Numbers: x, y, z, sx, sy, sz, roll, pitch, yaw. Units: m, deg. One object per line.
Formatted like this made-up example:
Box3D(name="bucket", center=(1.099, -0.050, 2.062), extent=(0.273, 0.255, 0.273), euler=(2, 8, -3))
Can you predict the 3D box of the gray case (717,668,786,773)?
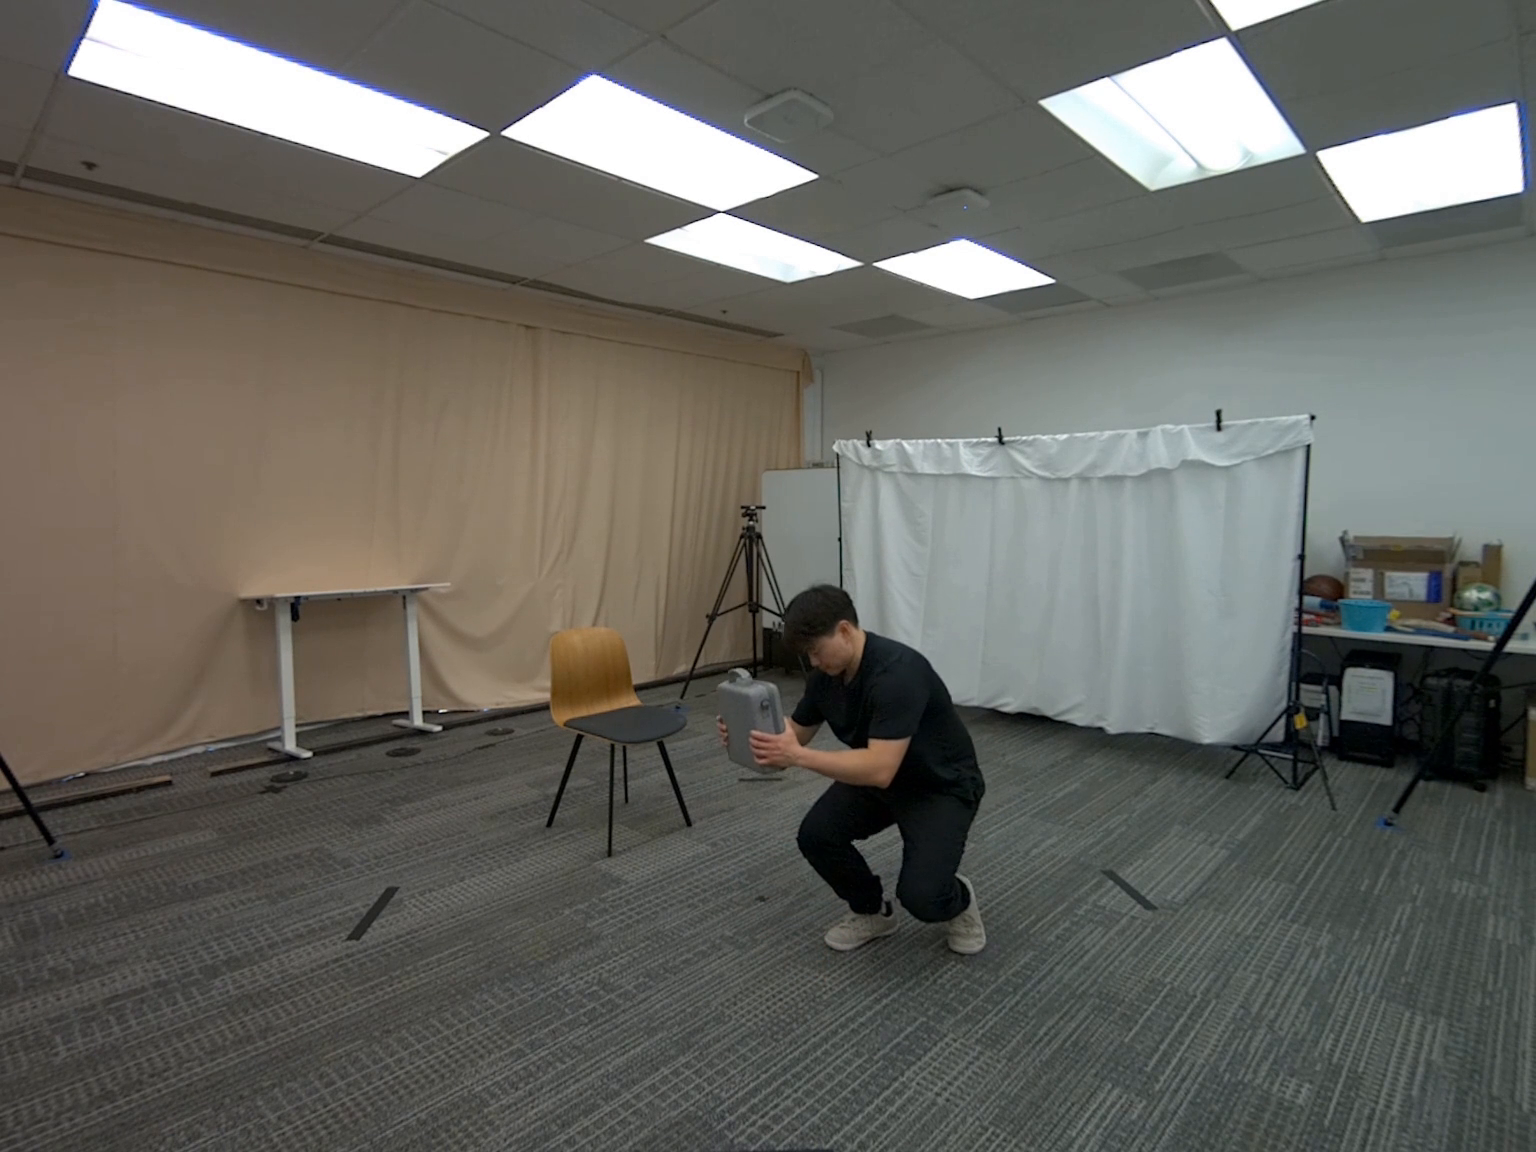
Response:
Box3D(name="gray case", center=(-0.040, 0.433, 2.493), extent=(0.102, 0.260, 0.263), euler=(-13, 2, -26))
